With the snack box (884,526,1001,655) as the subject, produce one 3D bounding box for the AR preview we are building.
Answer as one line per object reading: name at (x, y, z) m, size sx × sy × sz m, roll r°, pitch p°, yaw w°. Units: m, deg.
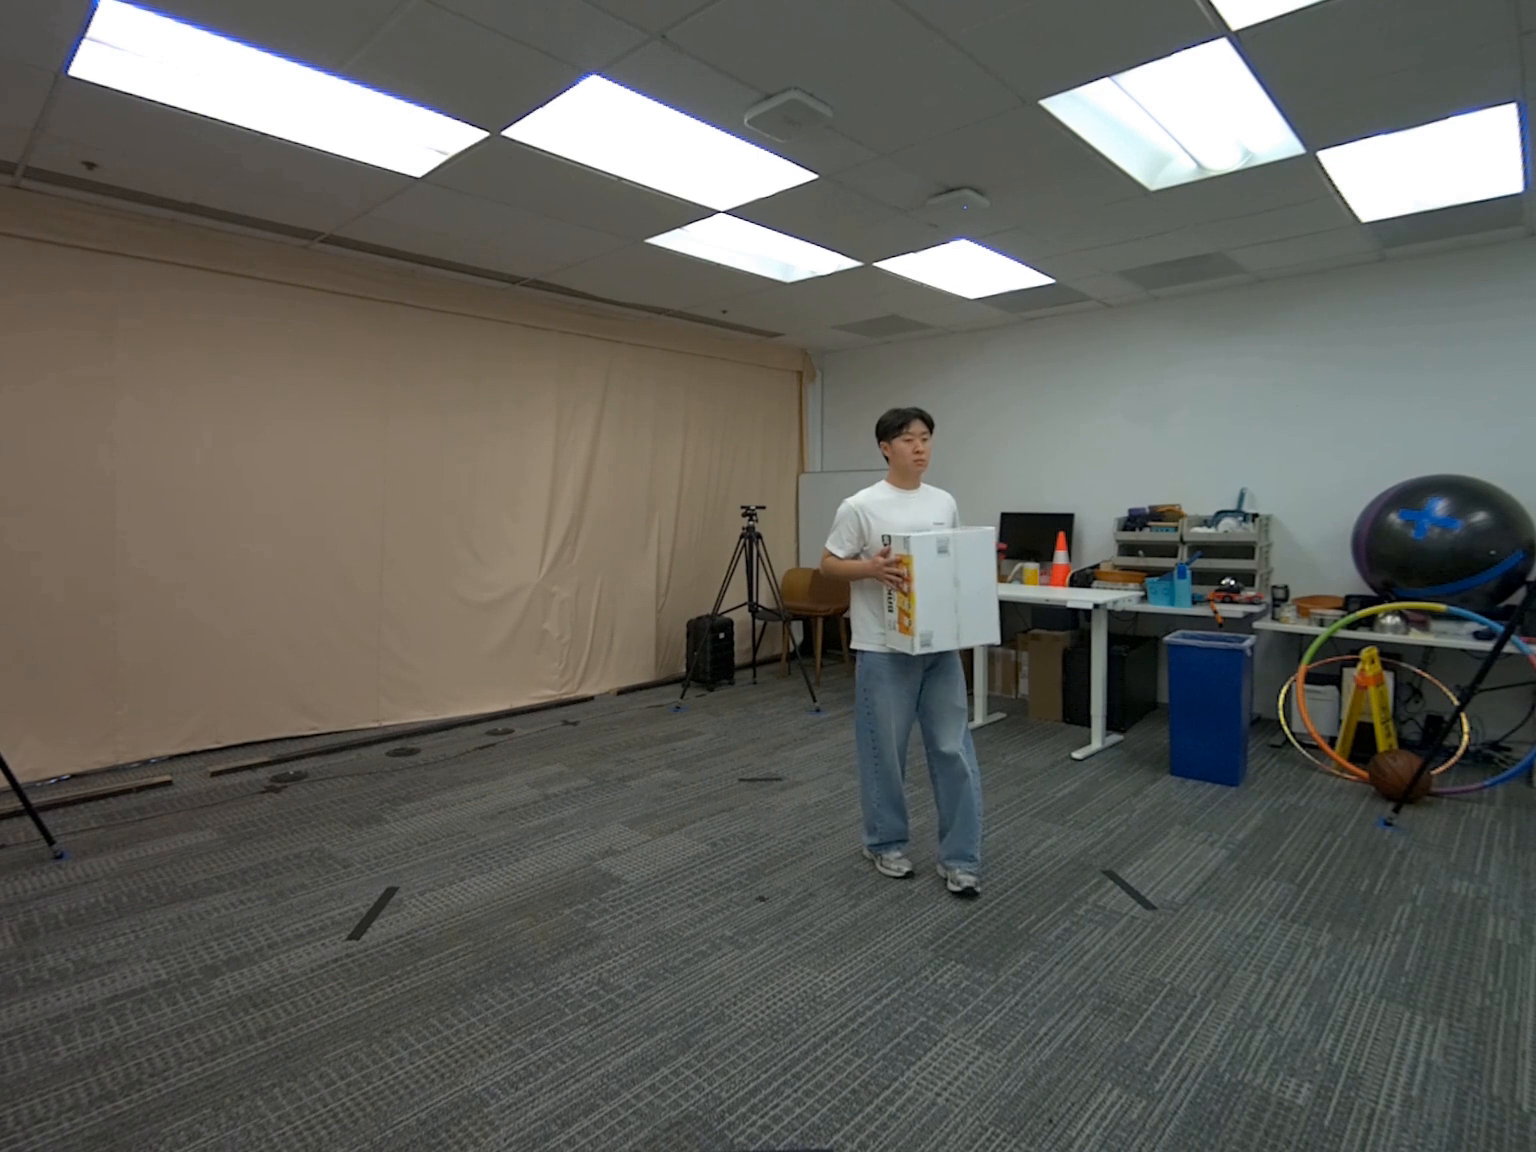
snack box at (0.609, 0.040, 2.956) m, size 0.334 × 0.404 × 0.210 m, roll -5°, pitch 4°, yaw -17°
